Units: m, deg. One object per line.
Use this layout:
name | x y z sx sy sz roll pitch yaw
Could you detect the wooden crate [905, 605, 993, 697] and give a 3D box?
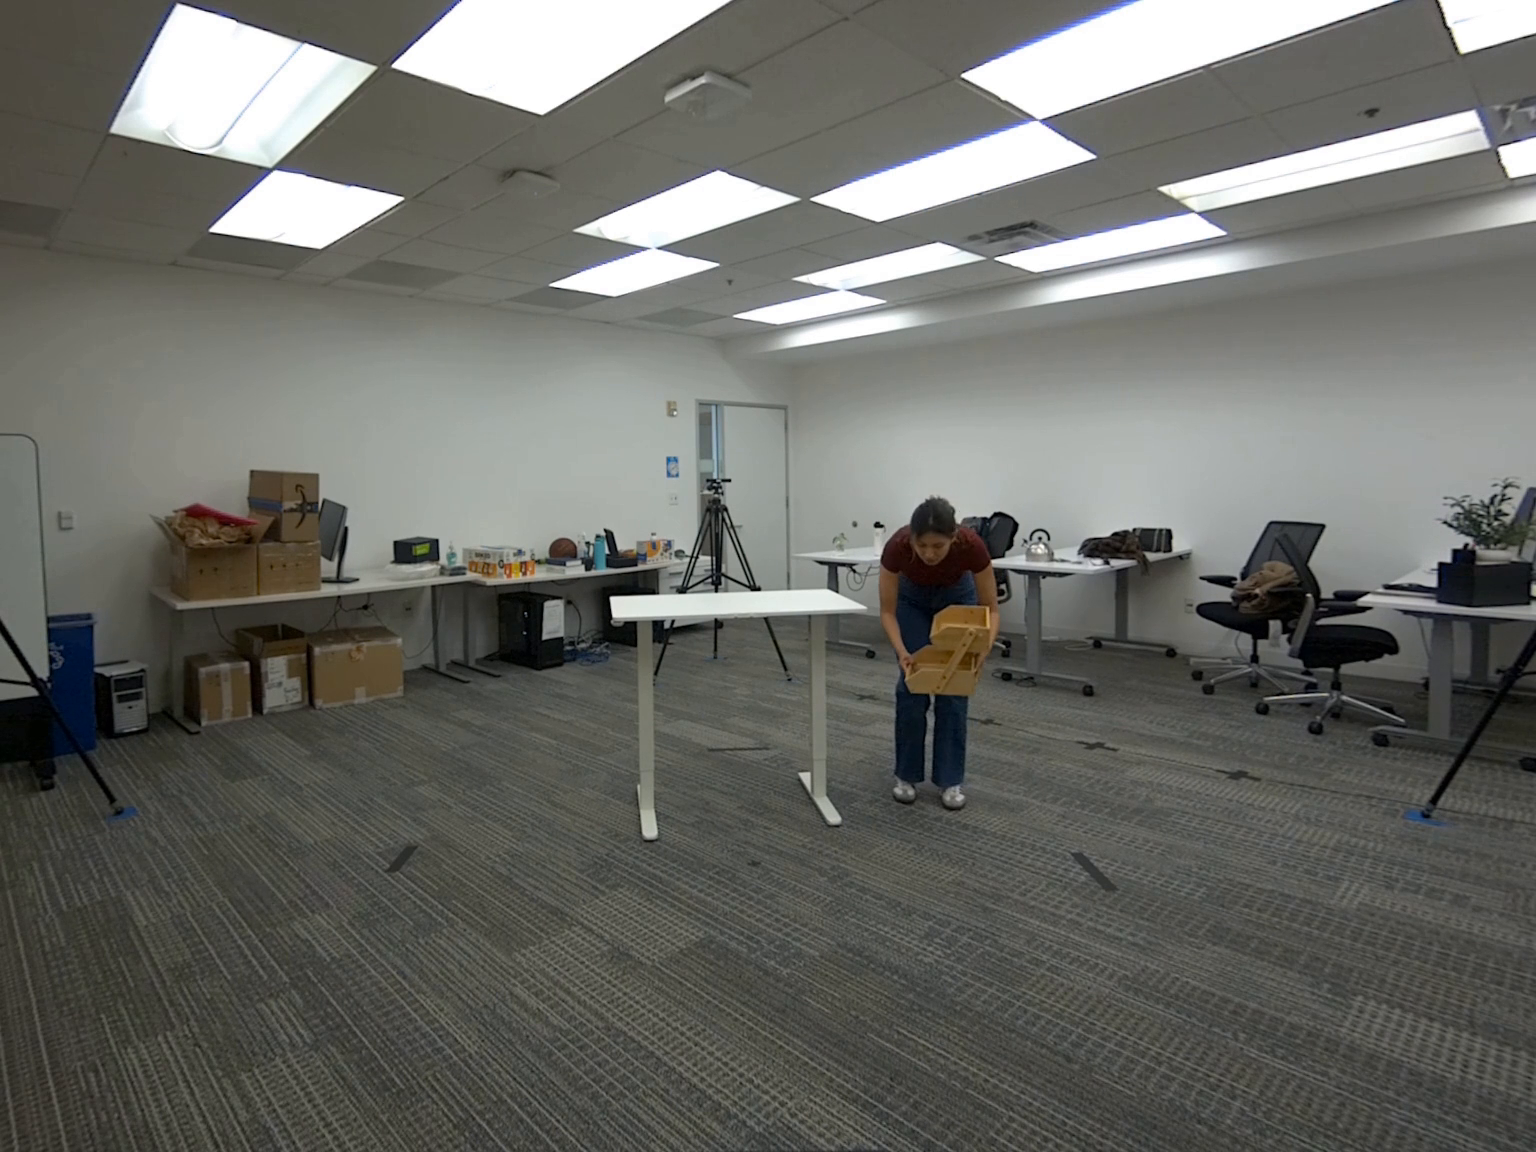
wooden crate | 0.682 0.275 3.274 0.307 0.271 0.322 0 11 16
